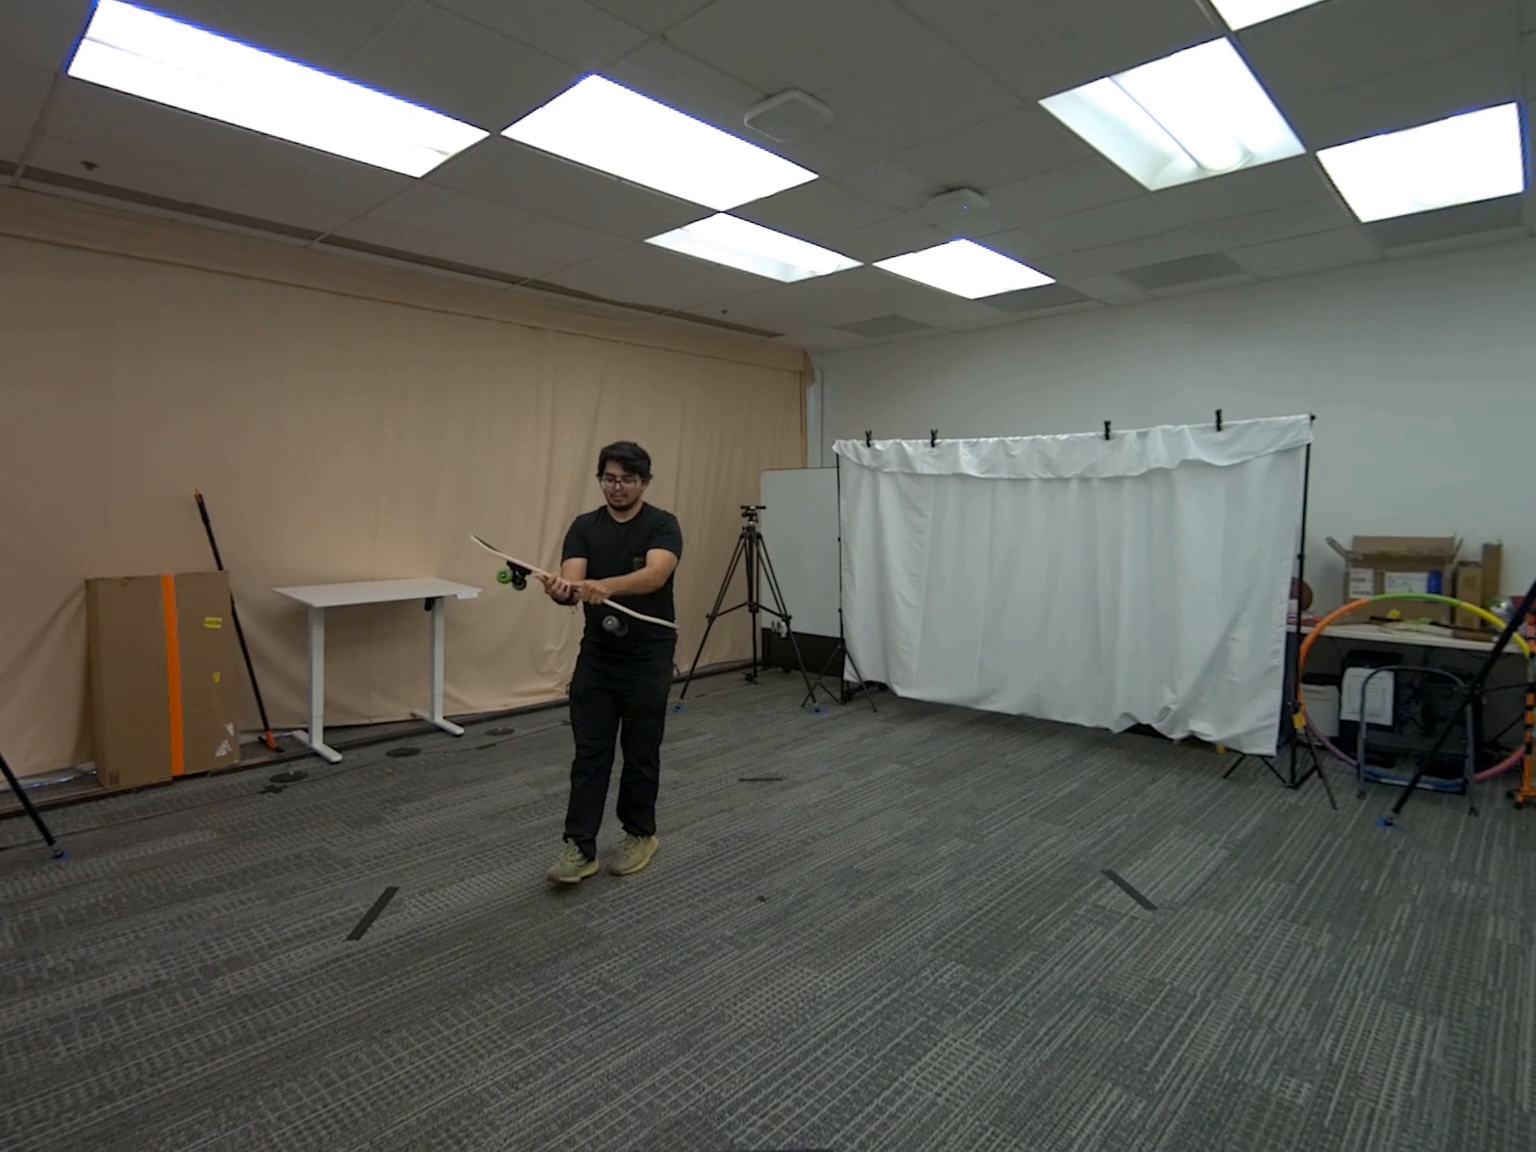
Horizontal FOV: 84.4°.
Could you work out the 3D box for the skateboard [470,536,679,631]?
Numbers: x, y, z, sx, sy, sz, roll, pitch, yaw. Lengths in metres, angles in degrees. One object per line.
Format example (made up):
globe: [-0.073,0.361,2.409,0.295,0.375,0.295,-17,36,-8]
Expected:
skateboard: [-0.676,0.067,2.833,0.797,0.110,0.190,24,-8,12]
